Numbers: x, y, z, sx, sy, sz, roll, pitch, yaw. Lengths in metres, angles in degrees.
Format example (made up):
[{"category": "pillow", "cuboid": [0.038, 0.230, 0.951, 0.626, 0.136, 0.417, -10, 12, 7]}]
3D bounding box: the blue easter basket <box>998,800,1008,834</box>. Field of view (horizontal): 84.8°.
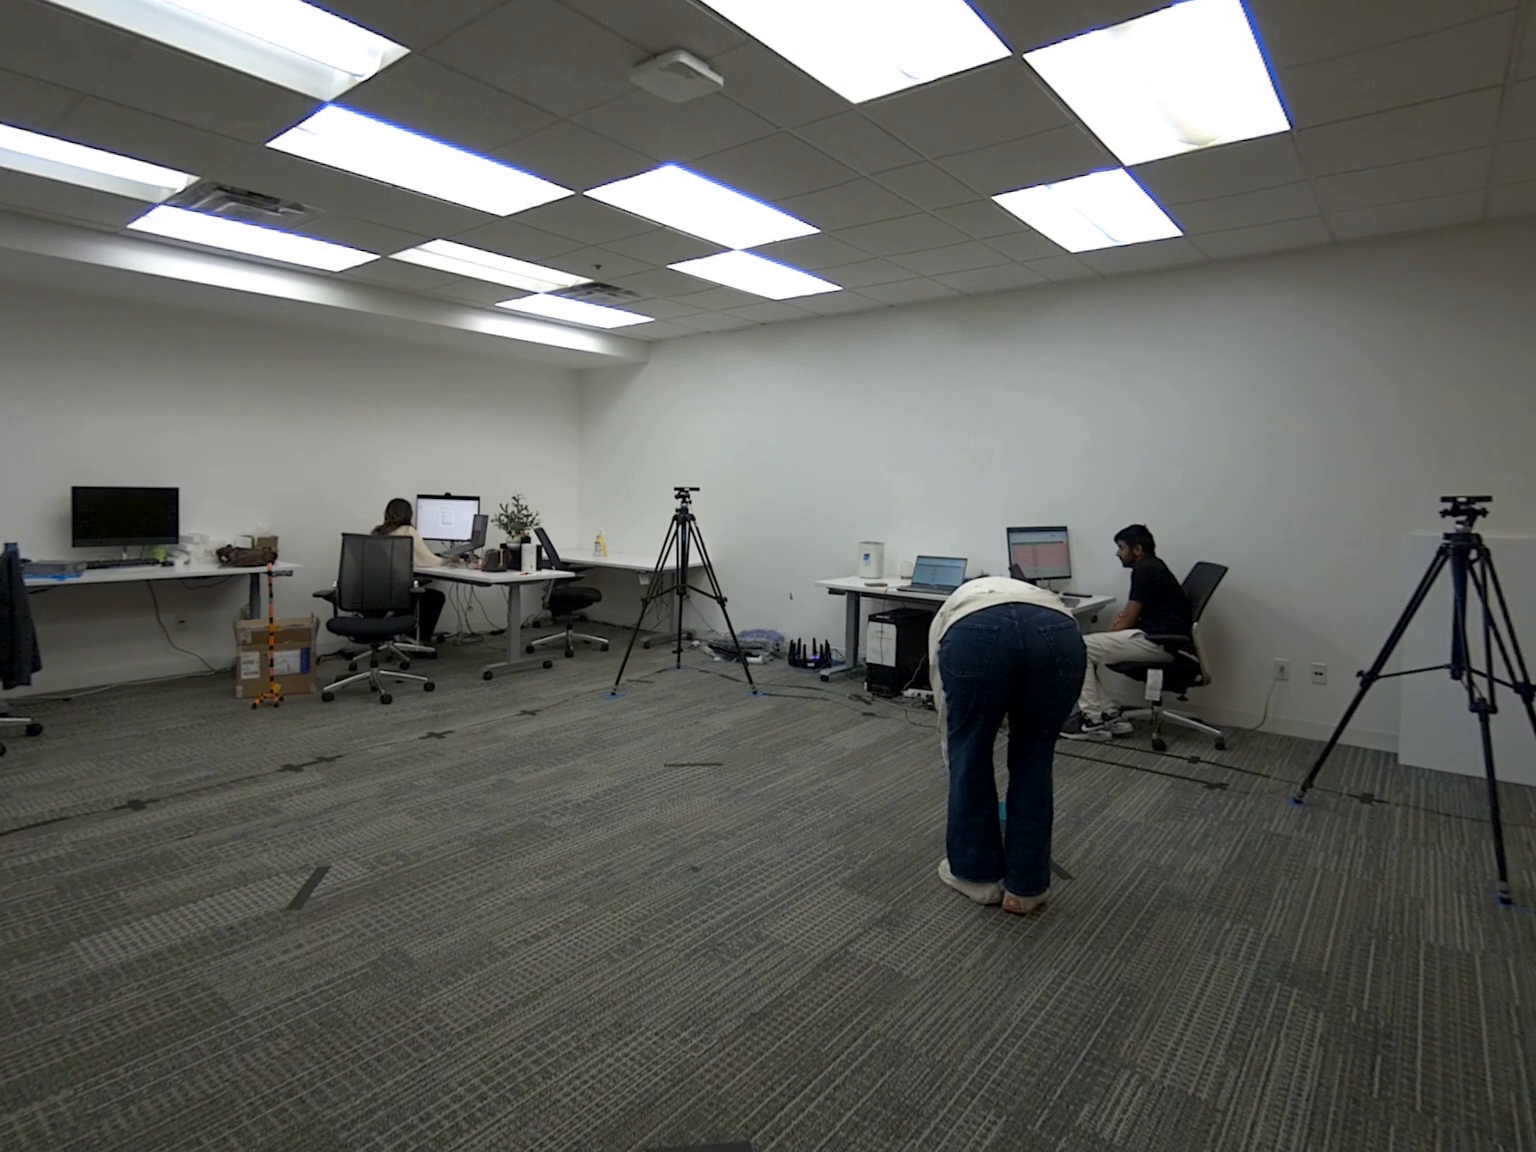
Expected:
[{"category": "blue easter basket", "cuboid": [0.855, 0.946, 3.273, 0.243, 0.156, 0.244, 1, 2, -2]}]
